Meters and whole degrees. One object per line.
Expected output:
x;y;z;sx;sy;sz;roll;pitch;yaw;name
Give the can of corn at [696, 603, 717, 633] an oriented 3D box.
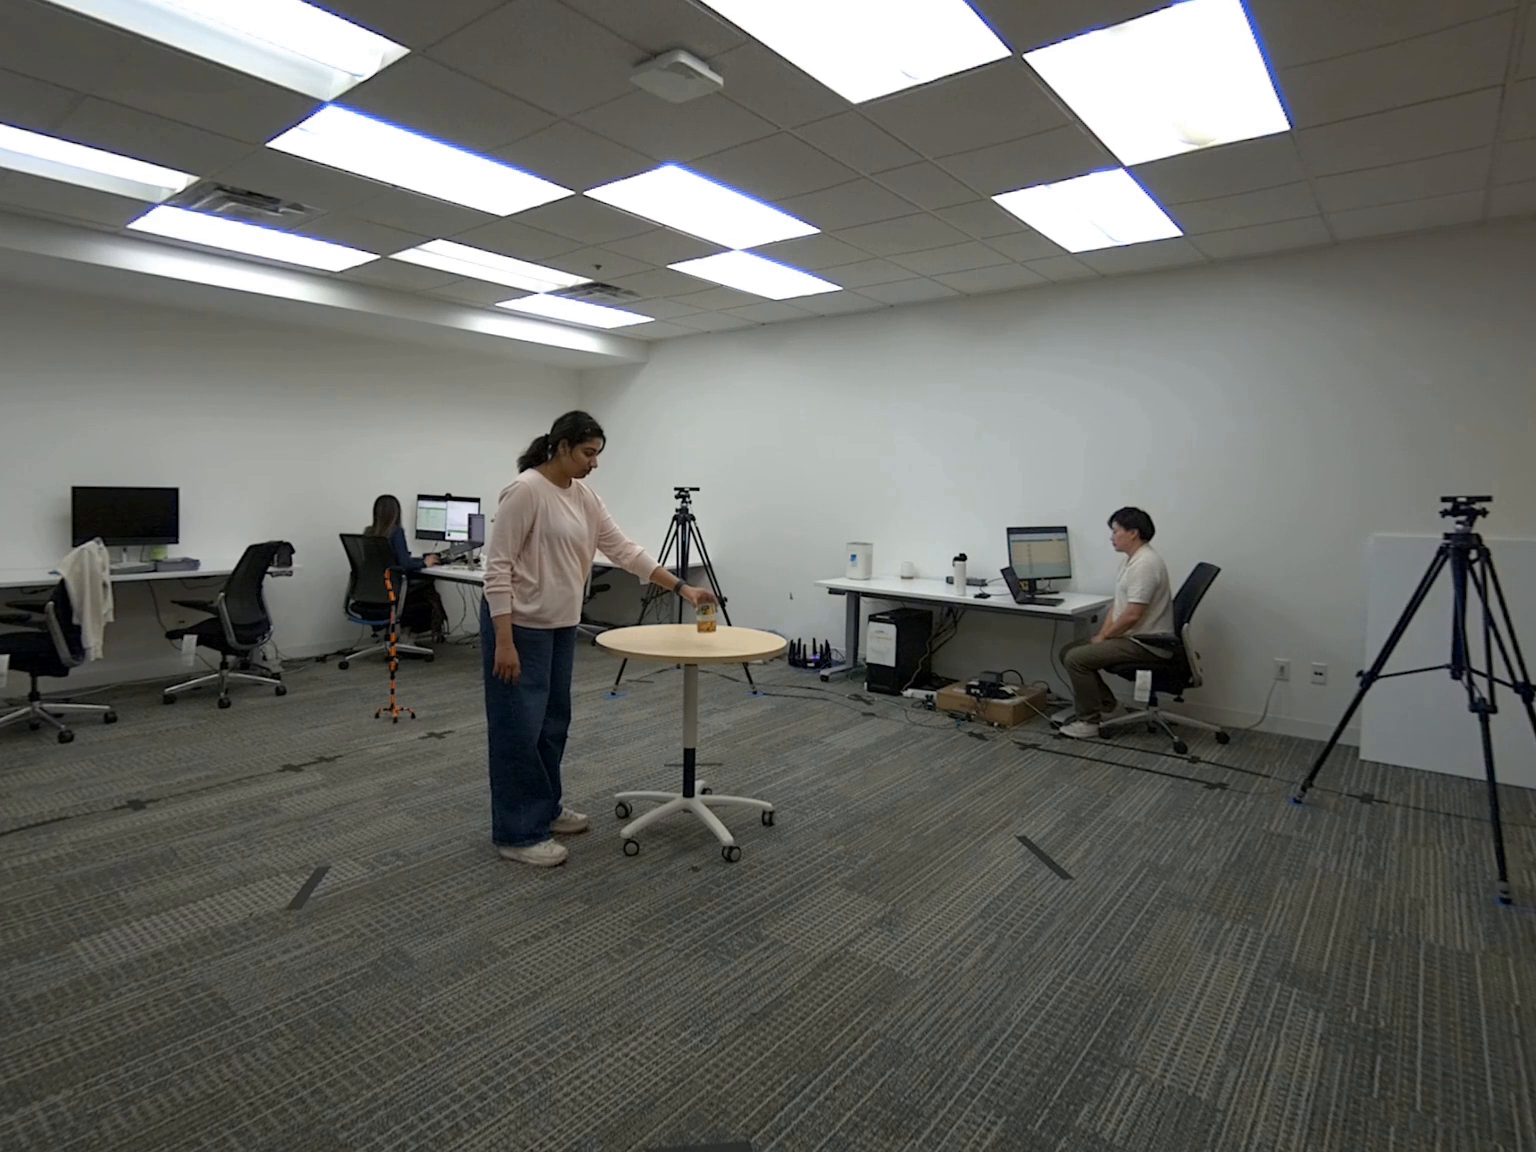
-0.250;0.157;3.268;0.074;0.111;0.074;-3;4;-2;can of corn
